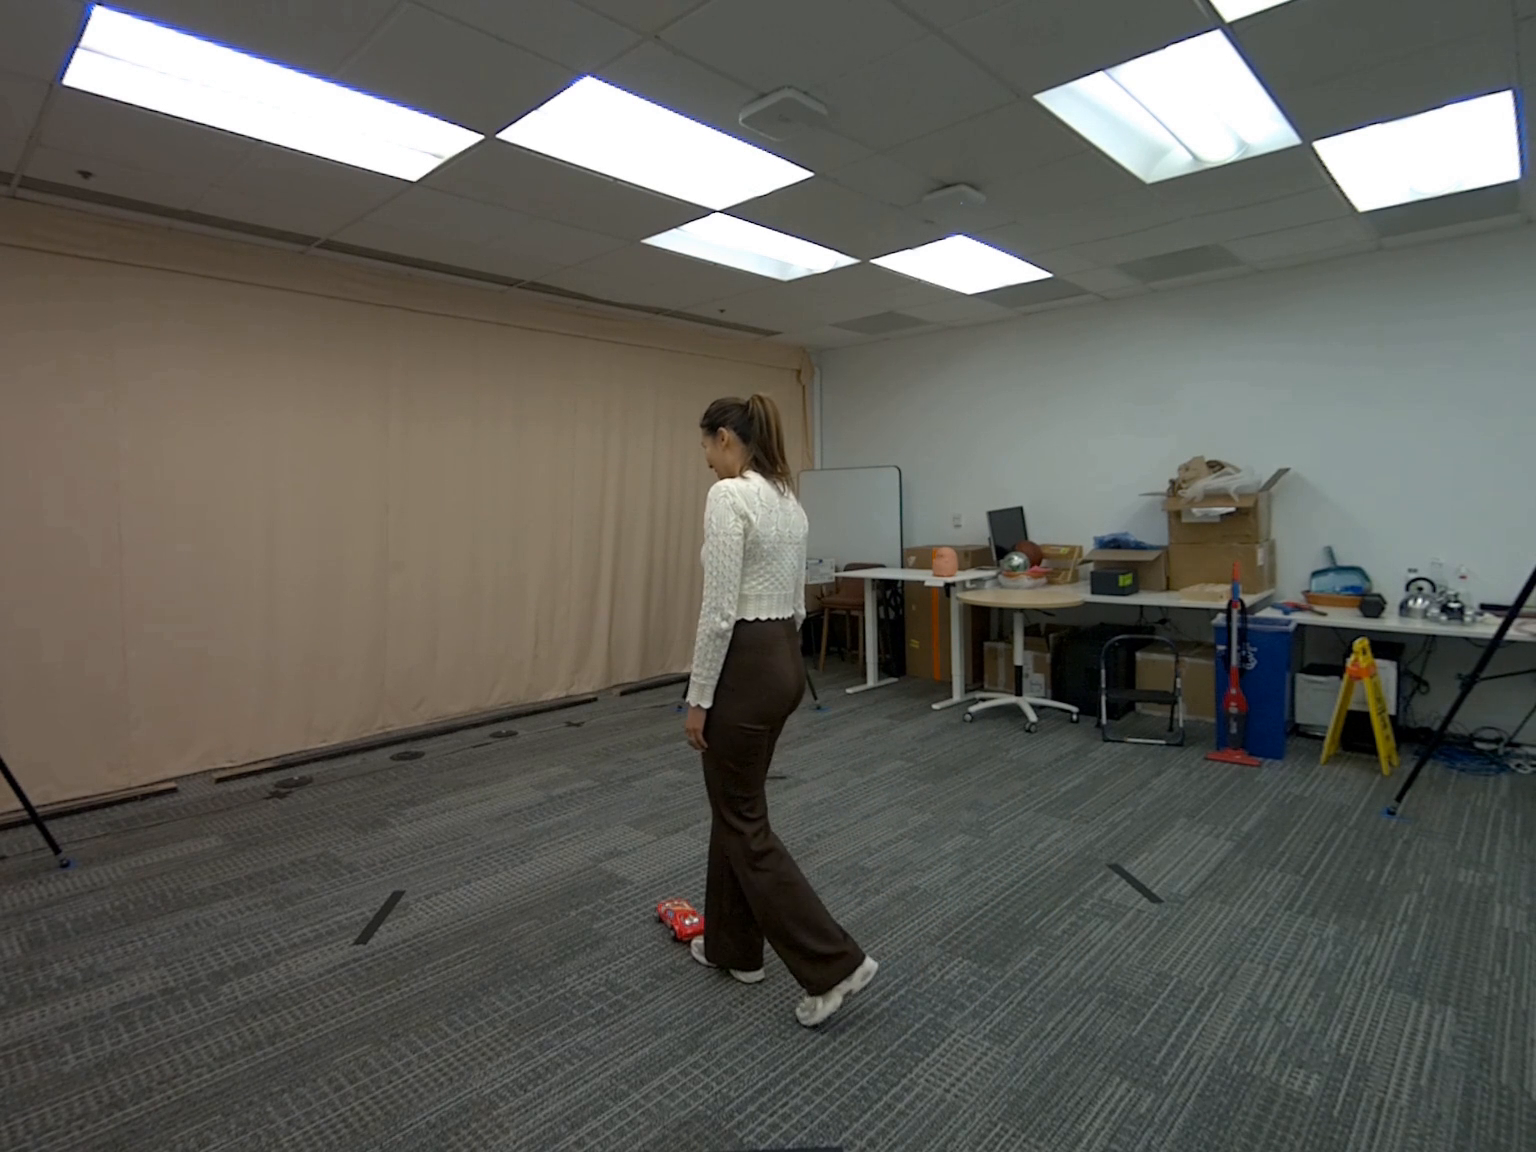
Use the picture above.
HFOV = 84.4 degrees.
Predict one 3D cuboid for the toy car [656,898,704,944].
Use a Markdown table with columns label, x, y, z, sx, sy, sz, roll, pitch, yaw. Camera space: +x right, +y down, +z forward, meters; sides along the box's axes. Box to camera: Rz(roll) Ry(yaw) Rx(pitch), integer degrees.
| label | x | y | z | sx | sy | sz | roll | pitch | yaw |
| --- | --- | --- | --- | --- | --- | --- | --- | --- | --- |
| toy car | -0.281 | 1.131 | 2.758 | 0.127 | 0.083 | 0.260 | -4 | -5 | -28 |
